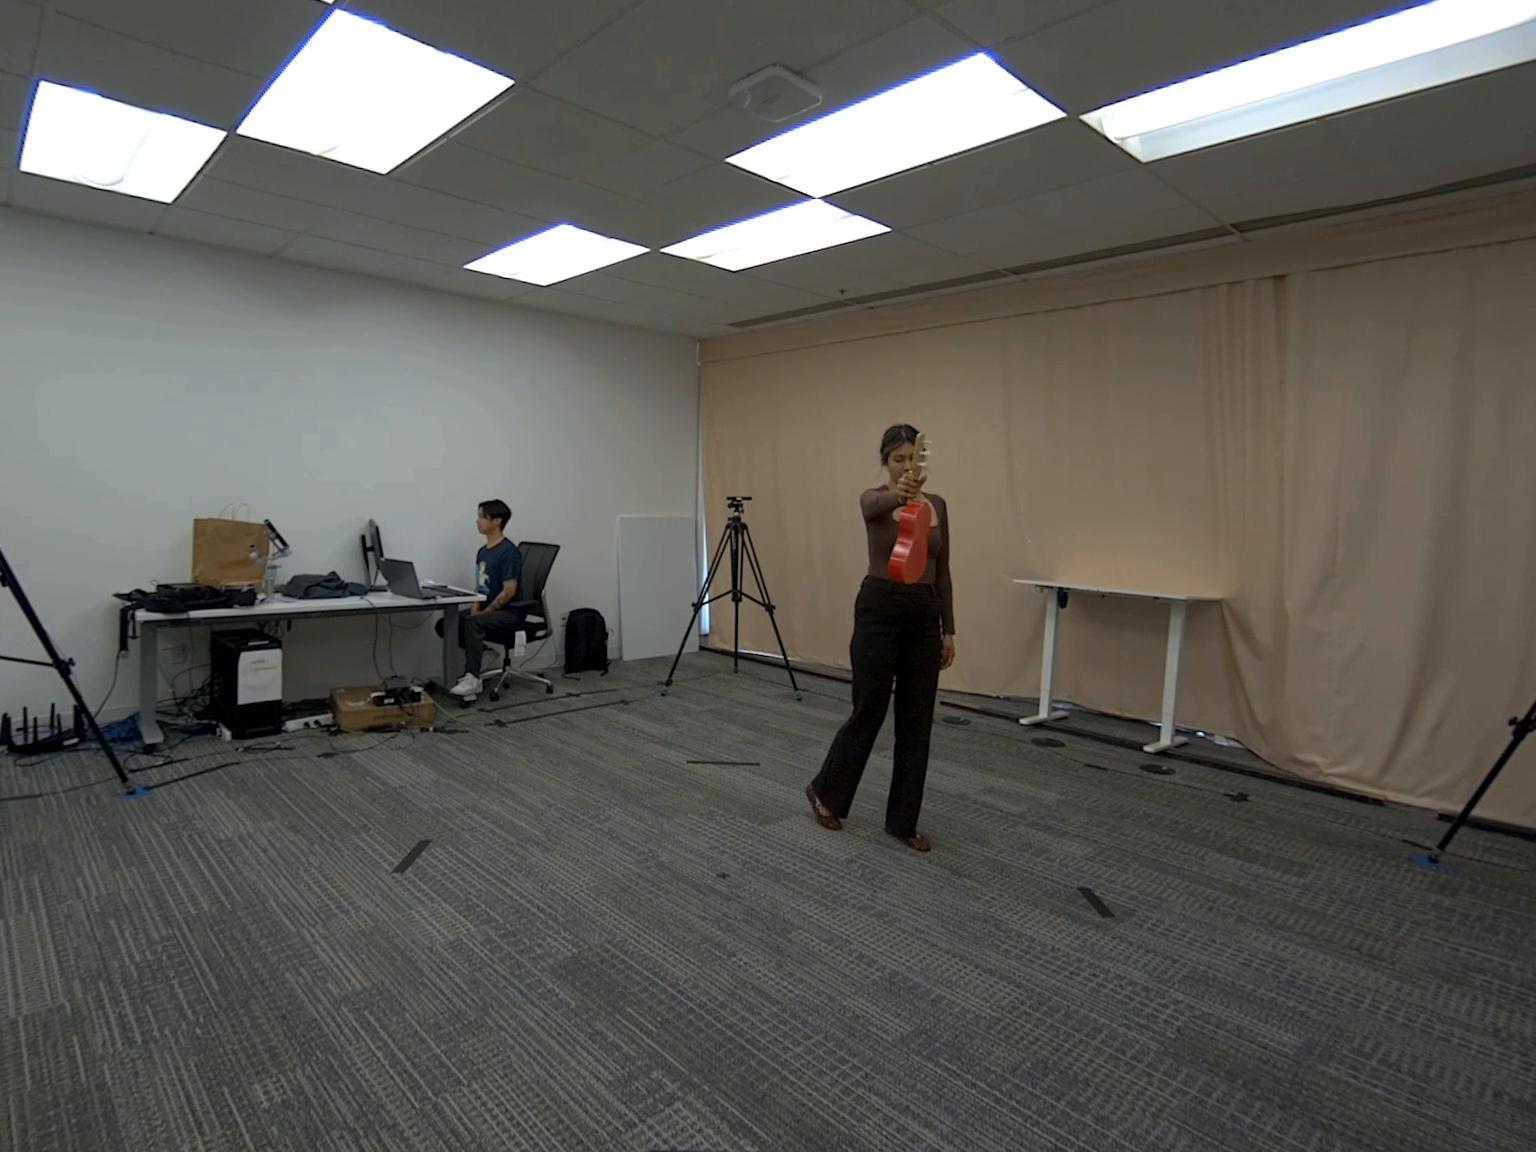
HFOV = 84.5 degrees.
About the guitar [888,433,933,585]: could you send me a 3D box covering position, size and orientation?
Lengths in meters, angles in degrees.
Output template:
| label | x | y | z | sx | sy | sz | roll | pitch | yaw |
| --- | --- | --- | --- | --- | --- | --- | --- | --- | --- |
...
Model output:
| label | x | y | z | sx | sy | sz | roll | pitch | yaw |
| --- | --- | --- | --- | --- | --- | --- | --- | --- | --- |
| guitar | 0.469 | -0.220 | 2.809 | 0.072 | 0.492 | 0.190 | 12 | 19 | 29 |
